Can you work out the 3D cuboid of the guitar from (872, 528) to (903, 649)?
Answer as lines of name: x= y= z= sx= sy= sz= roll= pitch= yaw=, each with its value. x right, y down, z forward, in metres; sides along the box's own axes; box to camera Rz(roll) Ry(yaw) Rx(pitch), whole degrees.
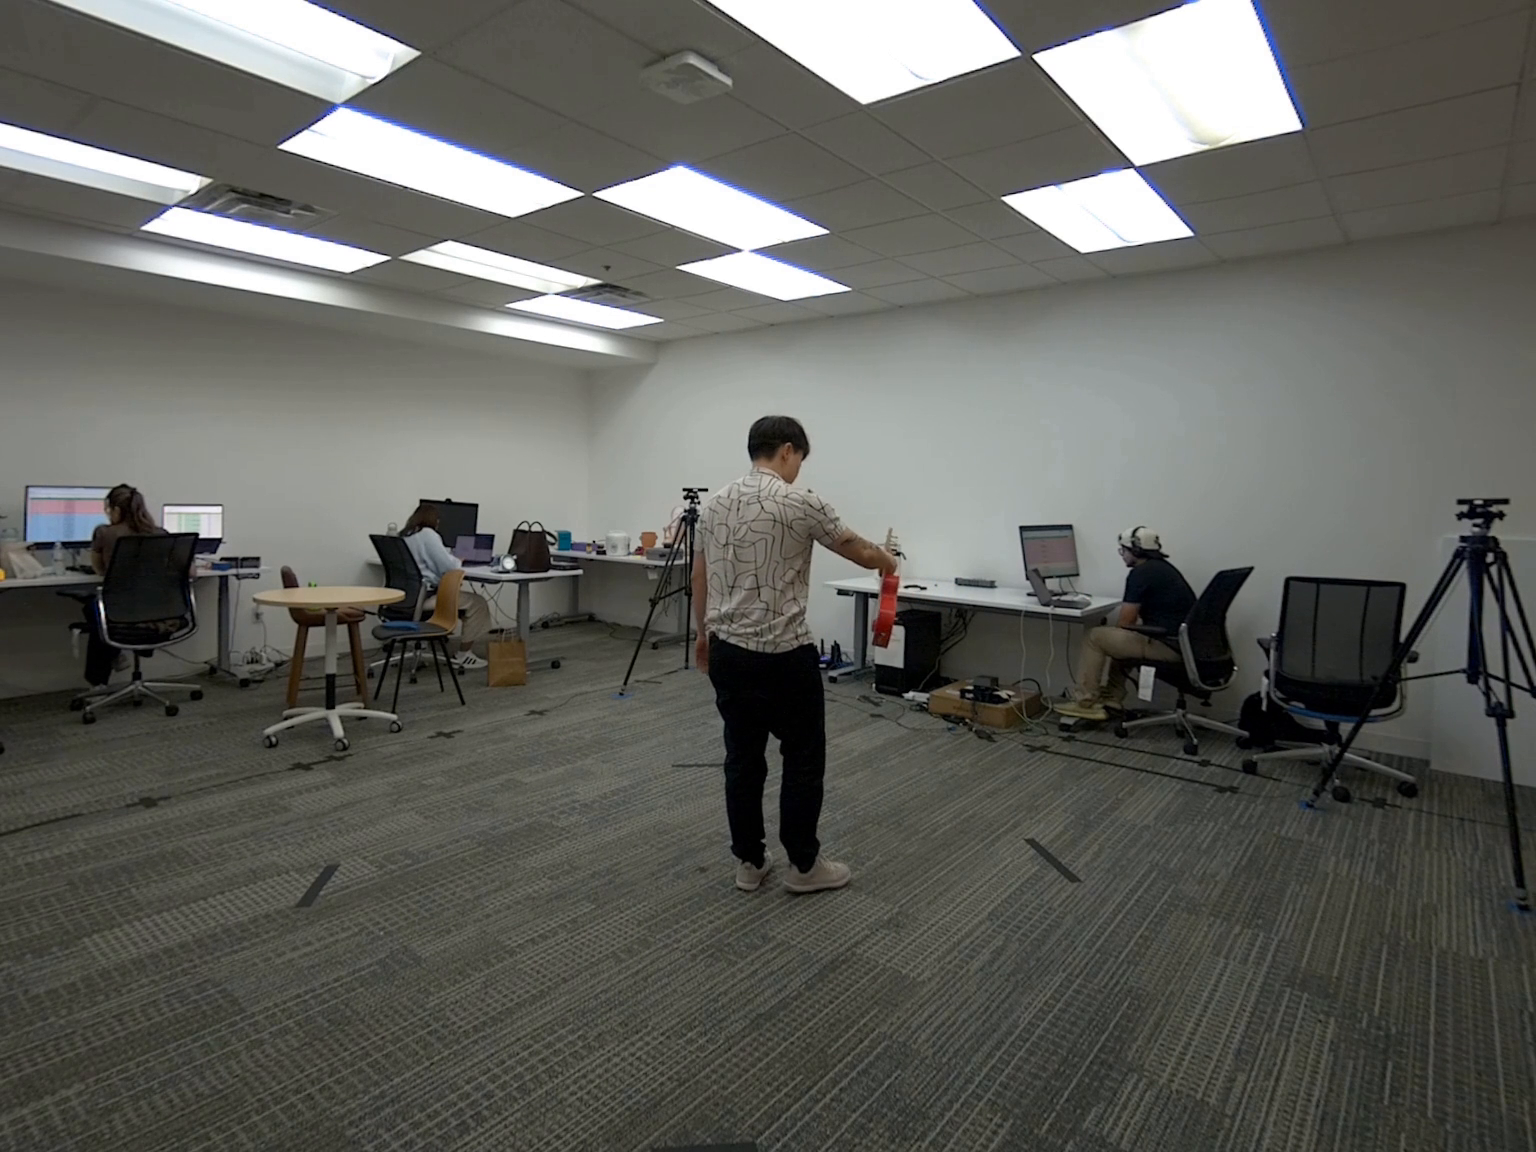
guitar: x=0.456 y=0.017 z=3.176 sx=0.071 sy=0.505 sz=0.188 roll=10 pitch=-23 yaw=5
